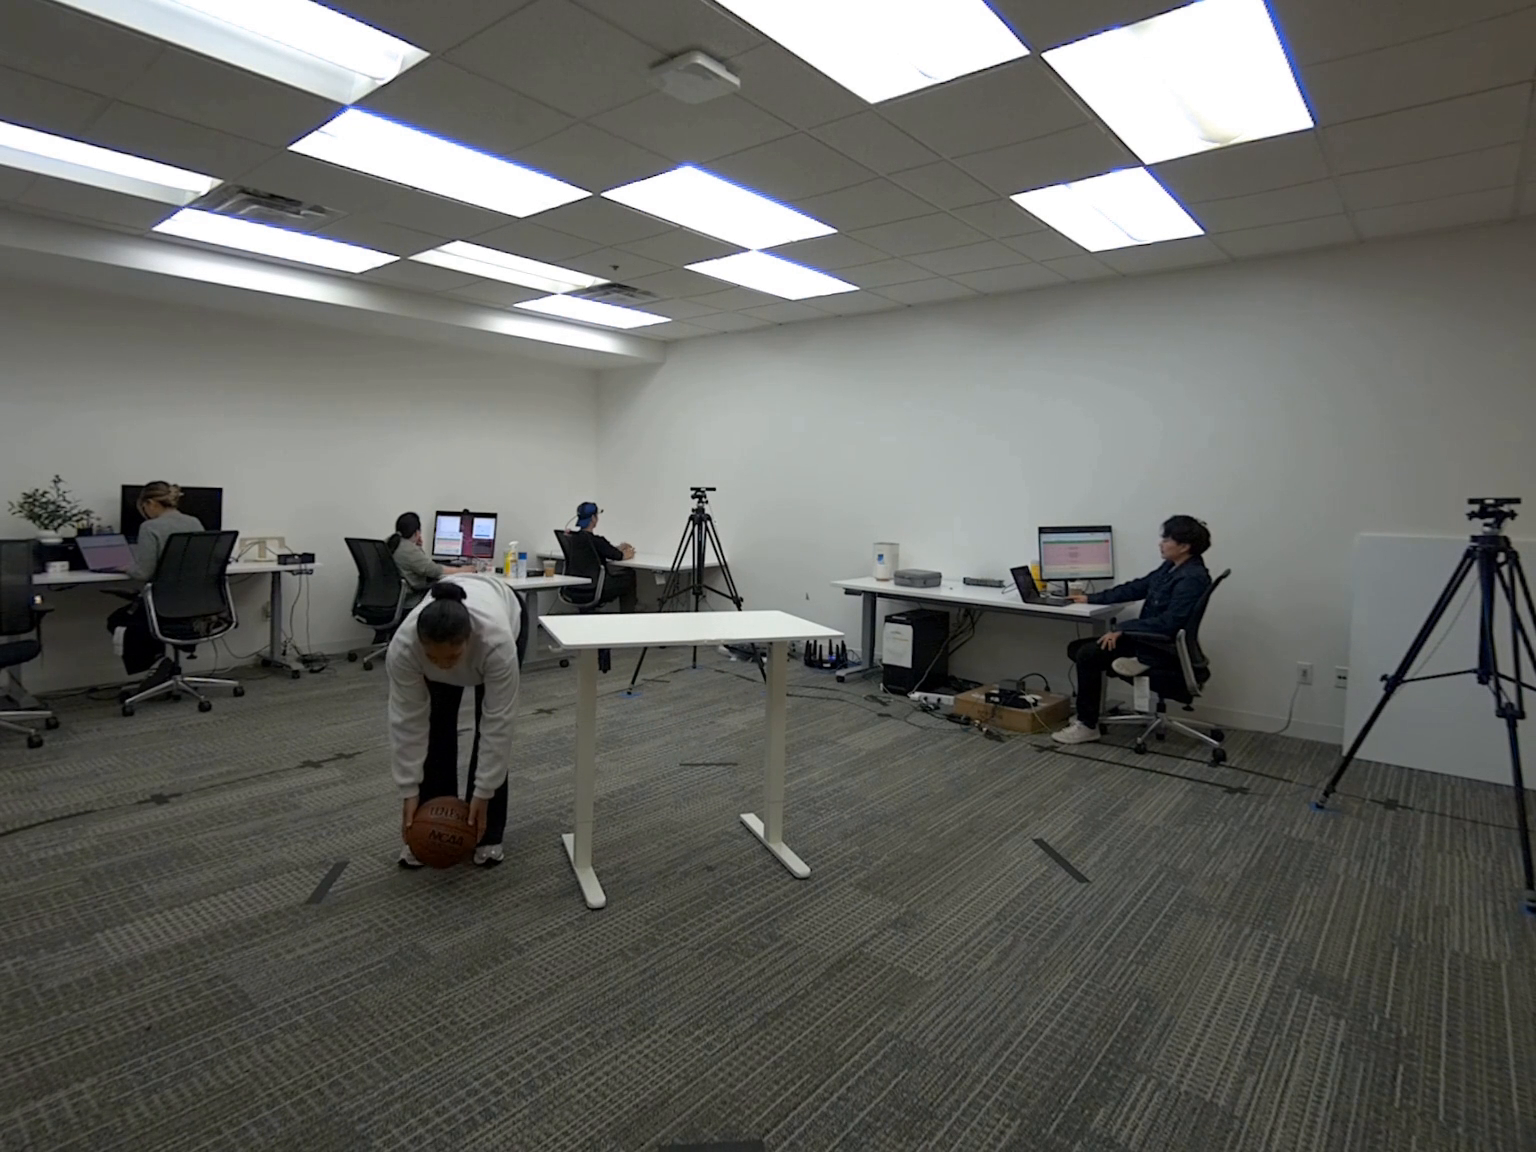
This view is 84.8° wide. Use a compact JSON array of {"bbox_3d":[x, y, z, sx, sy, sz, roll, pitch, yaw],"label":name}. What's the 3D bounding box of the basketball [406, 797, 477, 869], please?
[{"bbox_3d":[-1.142,0.864,2.939,0.235,0.235,0.237,1,4,-2],"label":"basketball"}]
